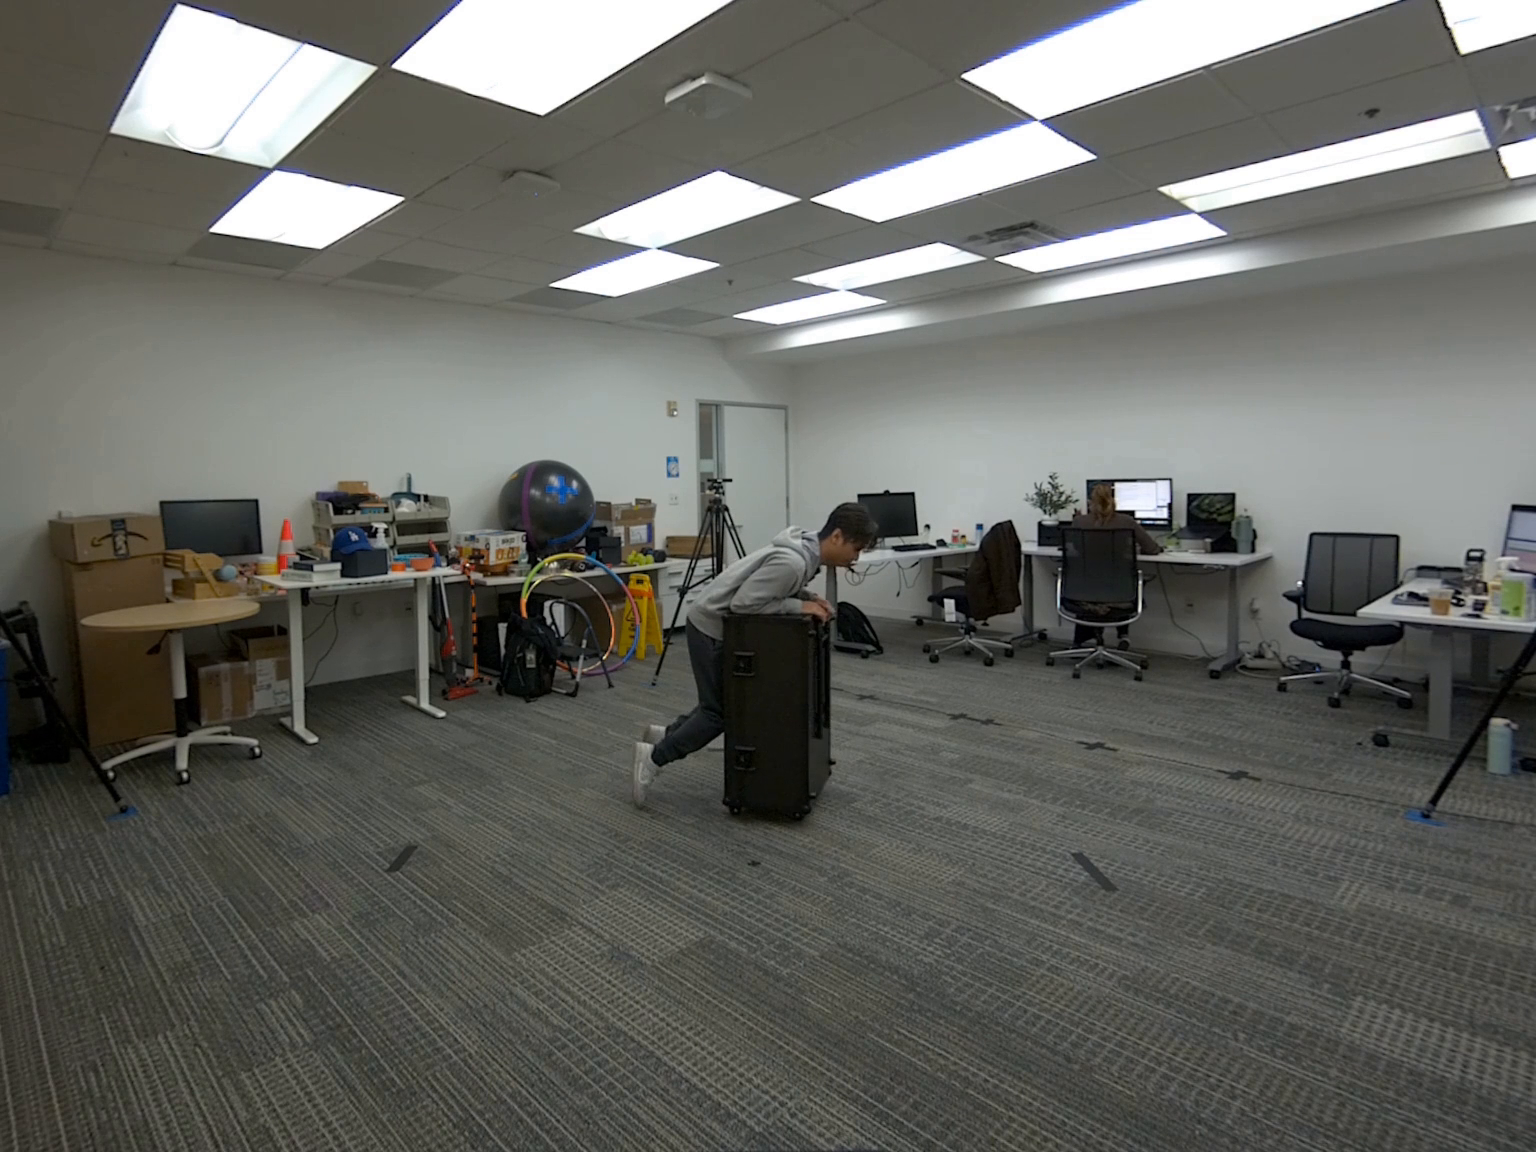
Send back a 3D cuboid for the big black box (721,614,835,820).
[{"bbox_3d":[0.059,0.570,3.639,0.403,0.858,0.515,0,5,17],"label":"big black box"}]
